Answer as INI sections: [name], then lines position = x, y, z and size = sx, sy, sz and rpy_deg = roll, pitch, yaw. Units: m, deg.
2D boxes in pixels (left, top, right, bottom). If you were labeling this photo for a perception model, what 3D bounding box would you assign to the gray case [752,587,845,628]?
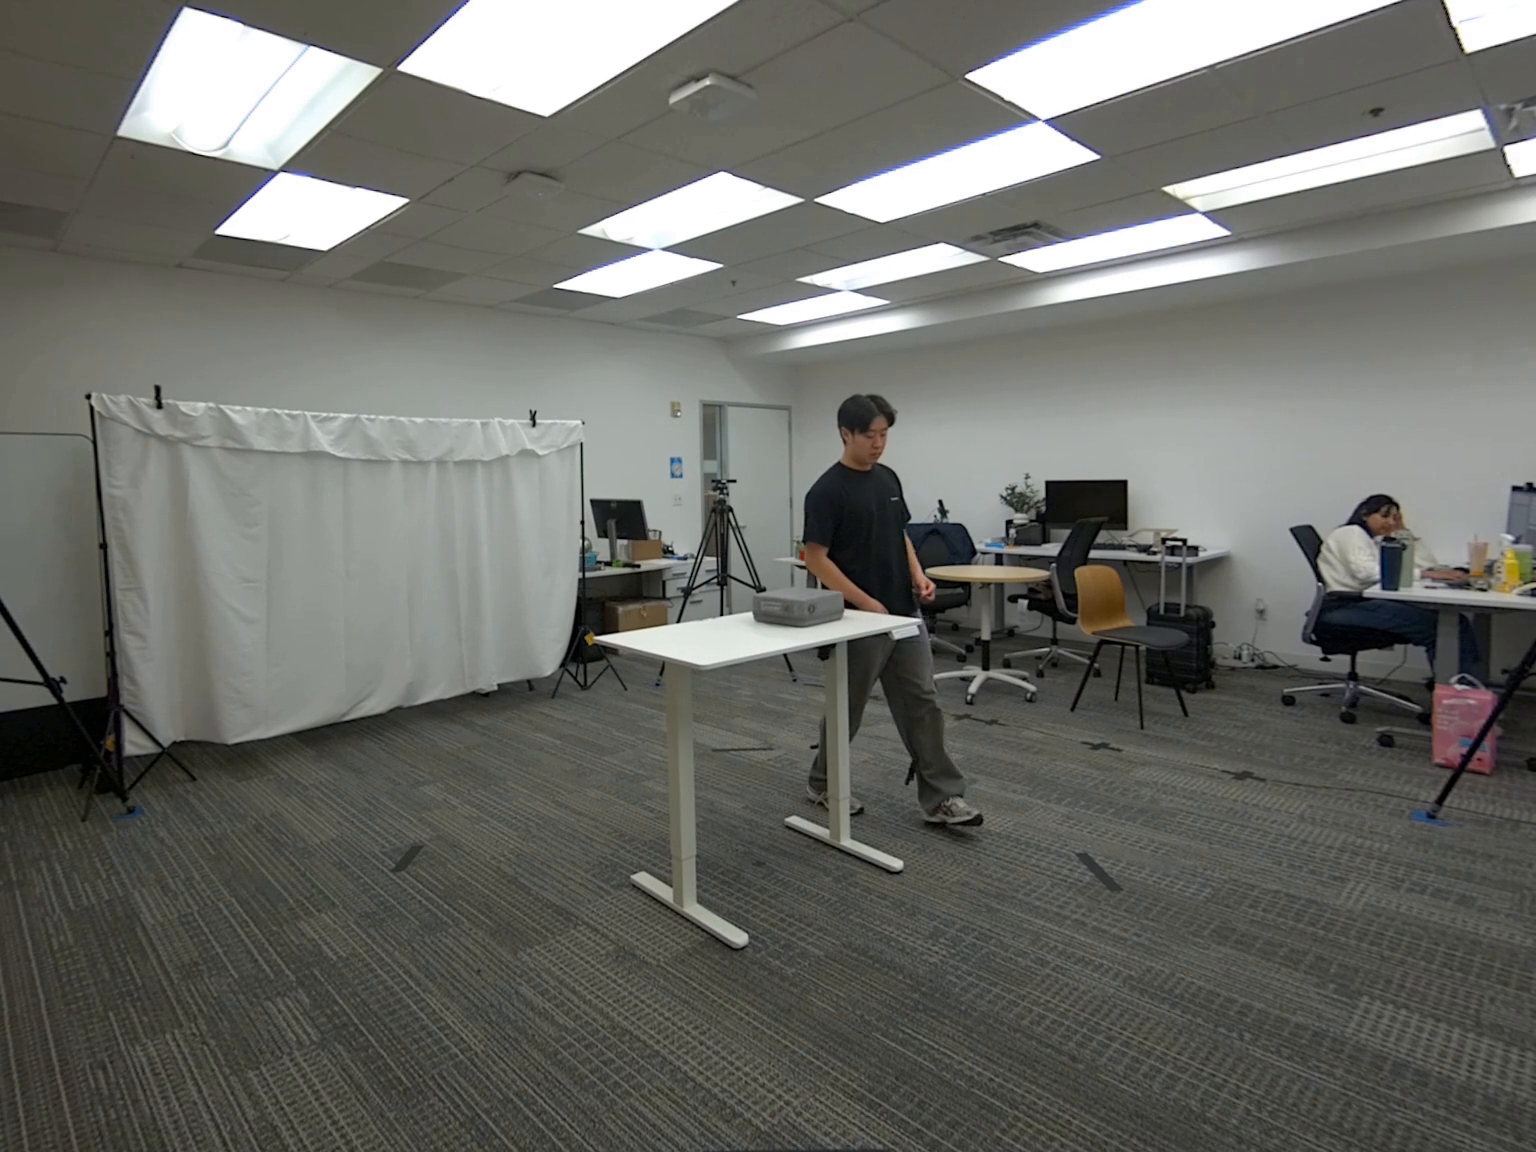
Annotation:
[gray case]
position = 0.100, 0.111, 3.083
size = 0.271, 0.102, 0.280
rpy_deg = 5, 9, 43
